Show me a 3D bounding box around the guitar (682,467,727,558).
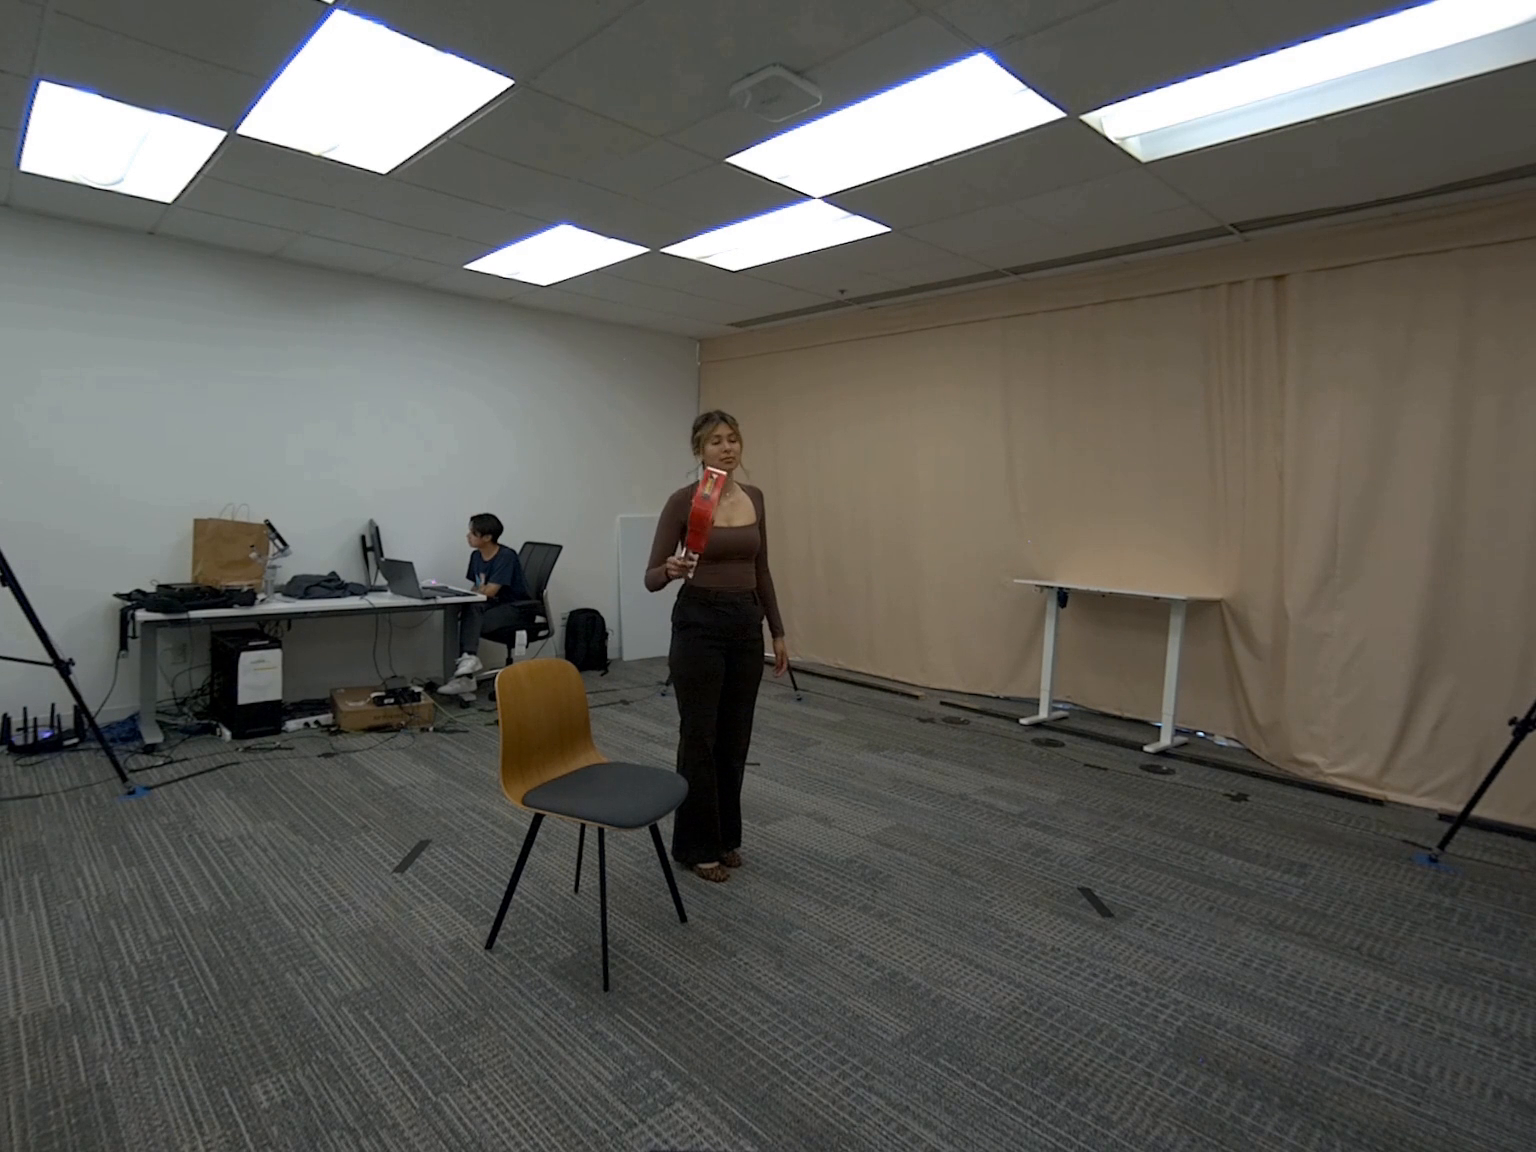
[{"bbox_3d":[-0.211,-0.150,2.553,0.071,0.195,0.492,16,-23,-1],"label":"guitar"}]
